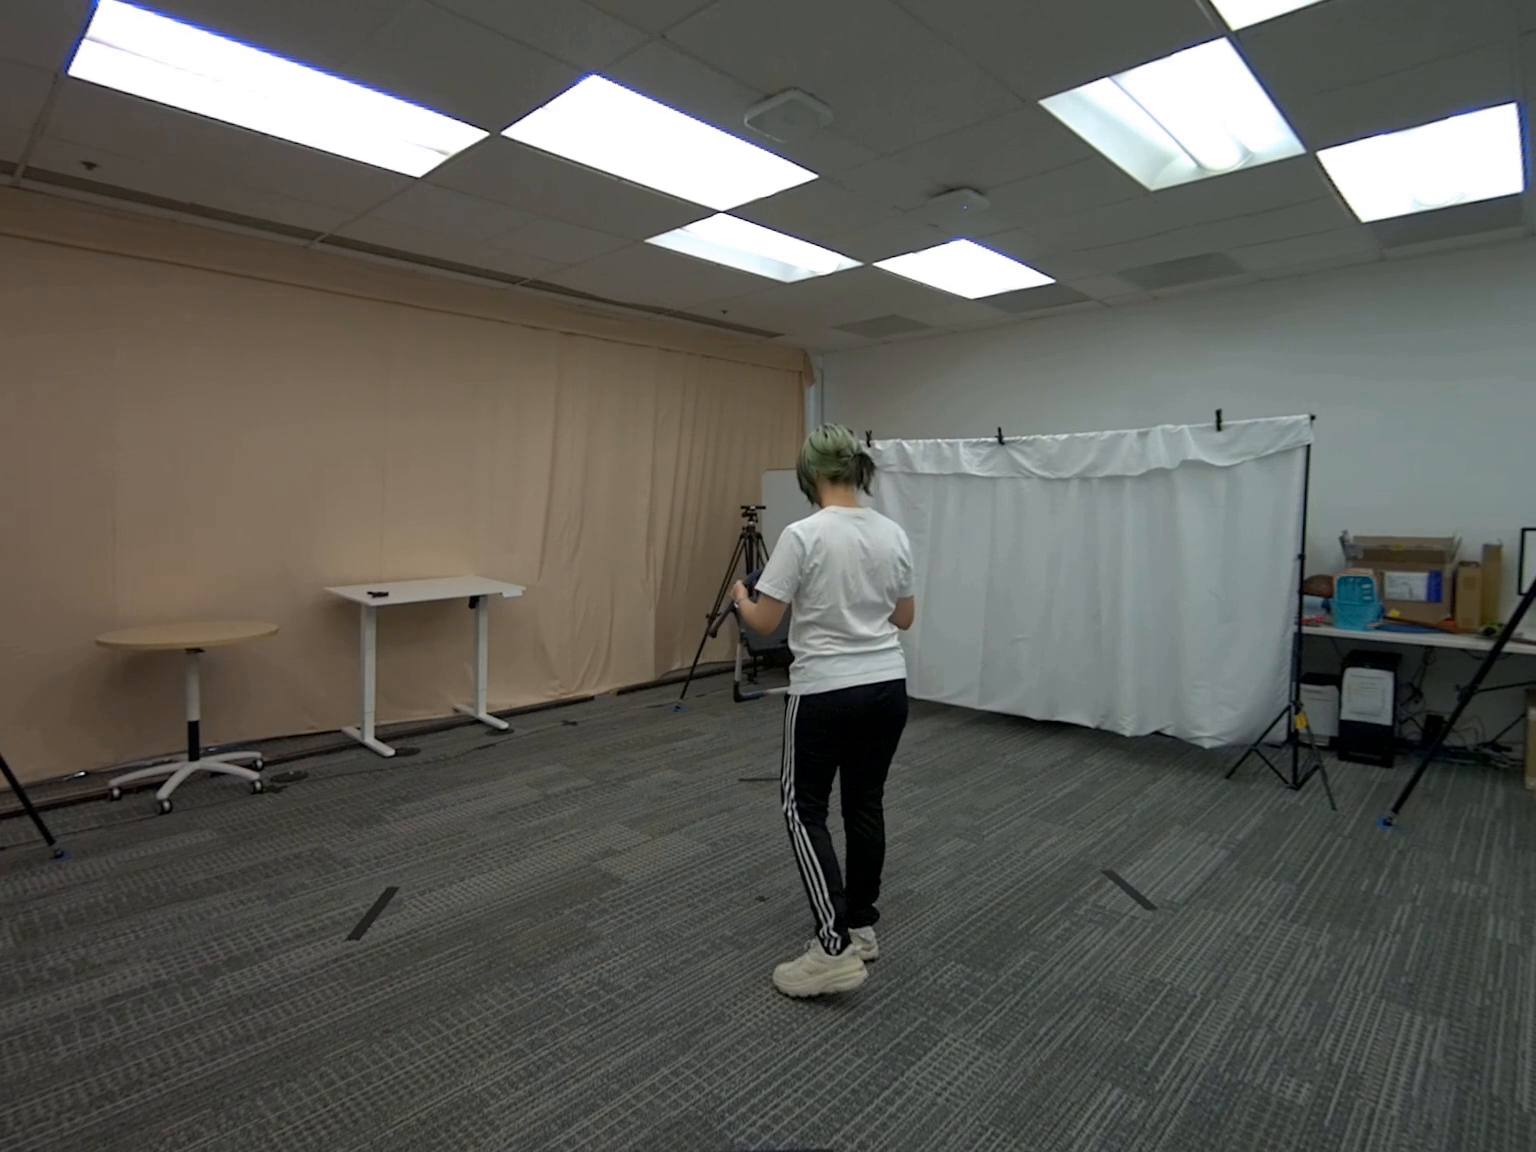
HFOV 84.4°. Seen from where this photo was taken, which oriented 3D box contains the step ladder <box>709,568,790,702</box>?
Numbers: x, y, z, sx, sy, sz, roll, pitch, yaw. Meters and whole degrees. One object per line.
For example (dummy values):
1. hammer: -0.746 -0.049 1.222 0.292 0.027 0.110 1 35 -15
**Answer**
1. step ladder: 0.068 0.103 2.937 0.423 0.599 0.359 -6 48 -18
